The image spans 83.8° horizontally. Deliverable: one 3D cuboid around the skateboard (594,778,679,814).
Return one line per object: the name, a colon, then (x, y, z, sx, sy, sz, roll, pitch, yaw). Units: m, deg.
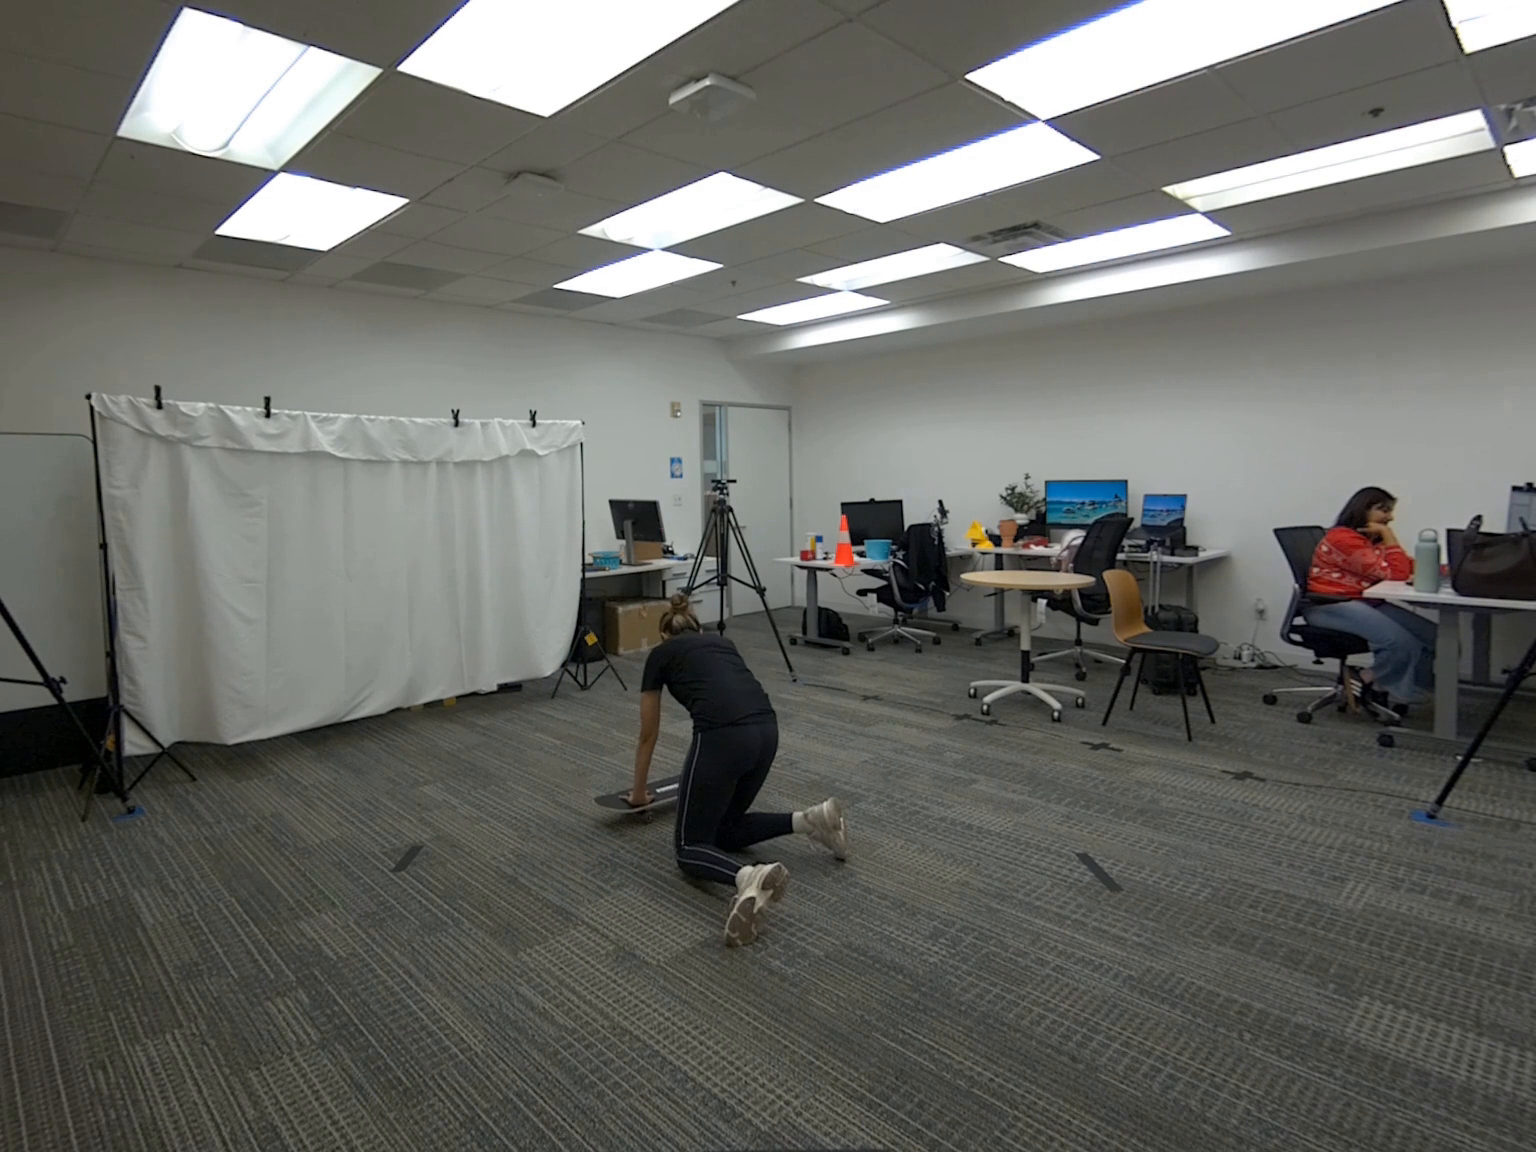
skateboard: (-0.389, 0.933, 3.674, 0.765, 0.110, 0.199, -6, 9, -39)
